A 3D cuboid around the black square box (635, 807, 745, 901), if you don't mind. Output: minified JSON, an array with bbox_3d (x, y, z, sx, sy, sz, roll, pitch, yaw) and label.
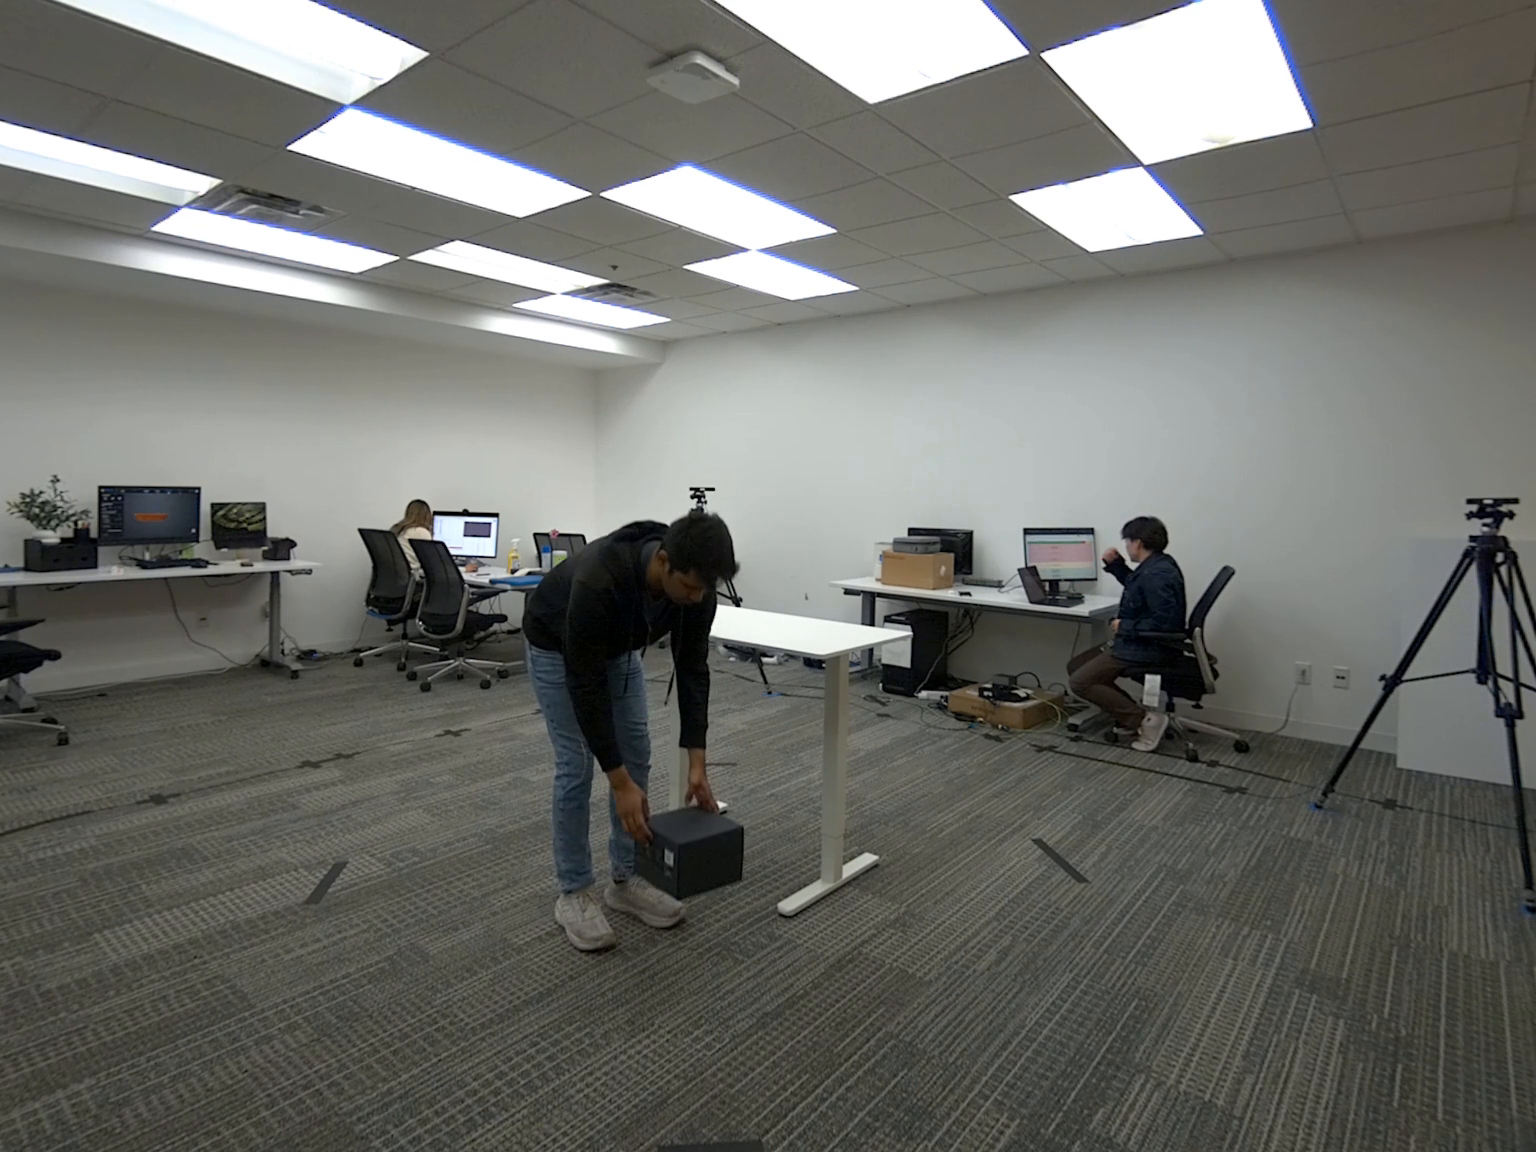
[{"bbox_3d":[-0.229,0.755,2.390,0.221,0.155,0.224,-1,4,-41],"label":"black square box"}]
